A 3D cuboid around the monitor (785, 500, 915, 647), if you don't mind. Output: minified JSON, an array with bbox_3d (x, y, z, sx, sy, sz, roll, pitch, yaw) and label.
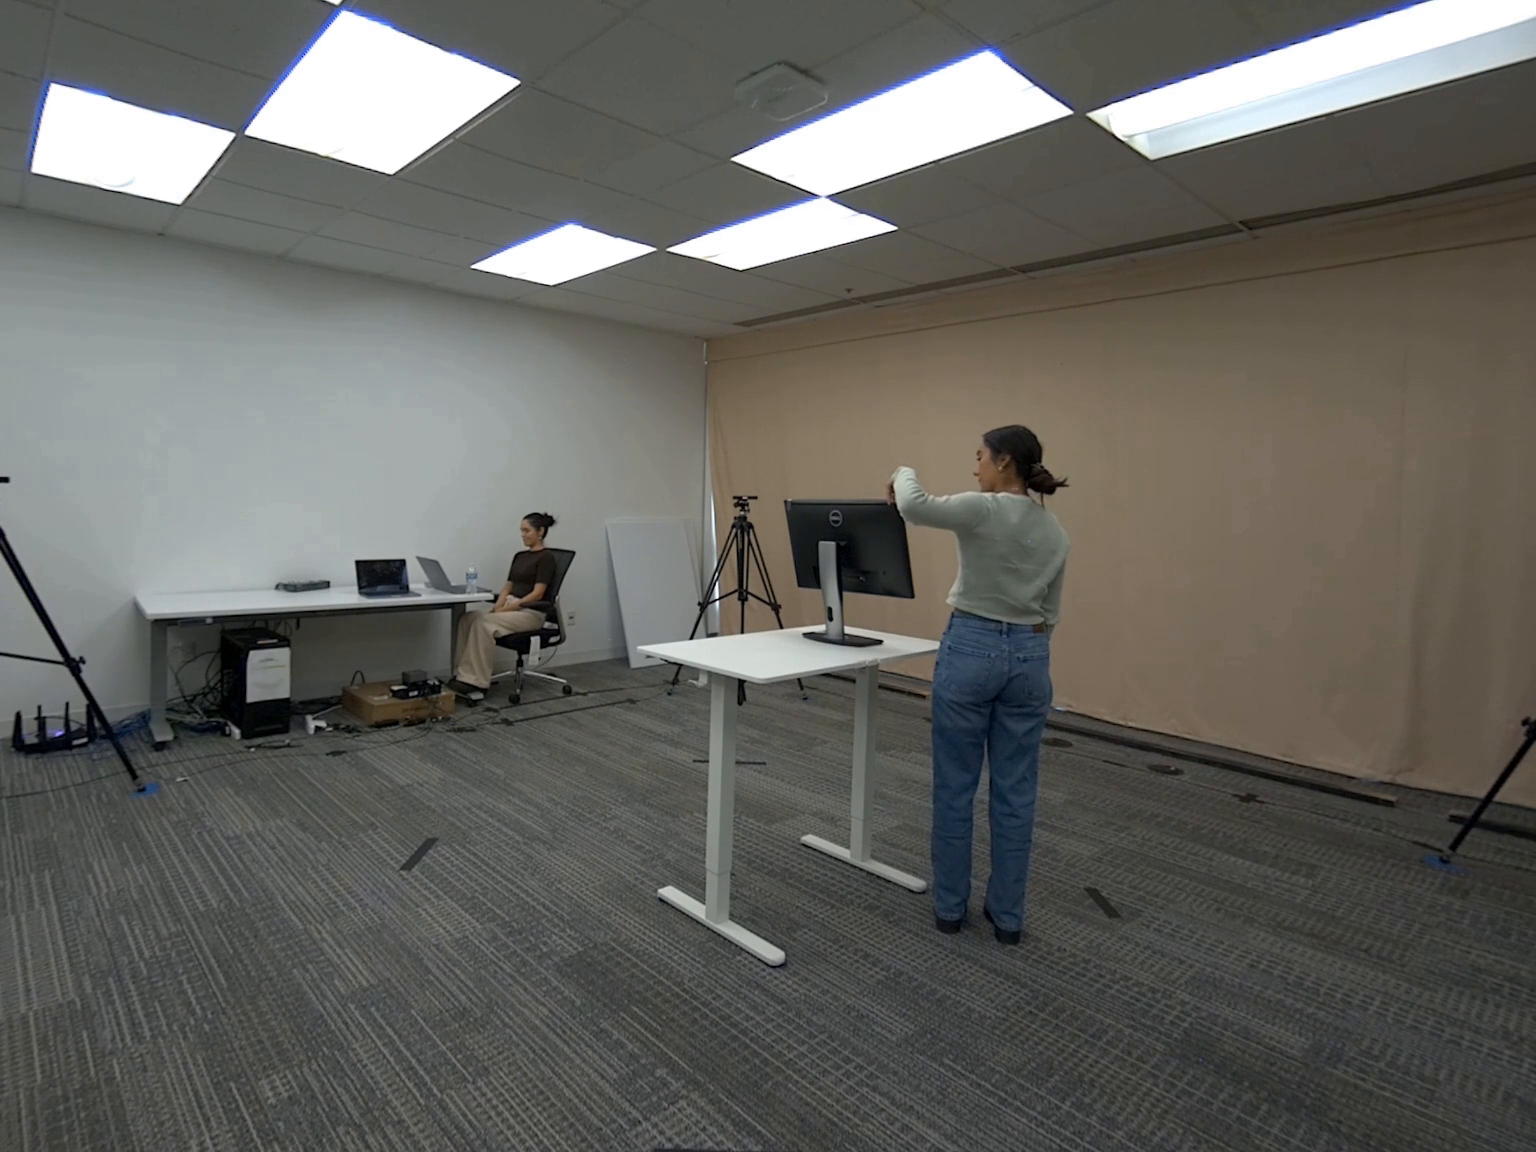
[{"bbox_3d":[0.255,-0.014,3.043,0.553,0.521,0.183,4,7,44],"label":"monitor"}]
